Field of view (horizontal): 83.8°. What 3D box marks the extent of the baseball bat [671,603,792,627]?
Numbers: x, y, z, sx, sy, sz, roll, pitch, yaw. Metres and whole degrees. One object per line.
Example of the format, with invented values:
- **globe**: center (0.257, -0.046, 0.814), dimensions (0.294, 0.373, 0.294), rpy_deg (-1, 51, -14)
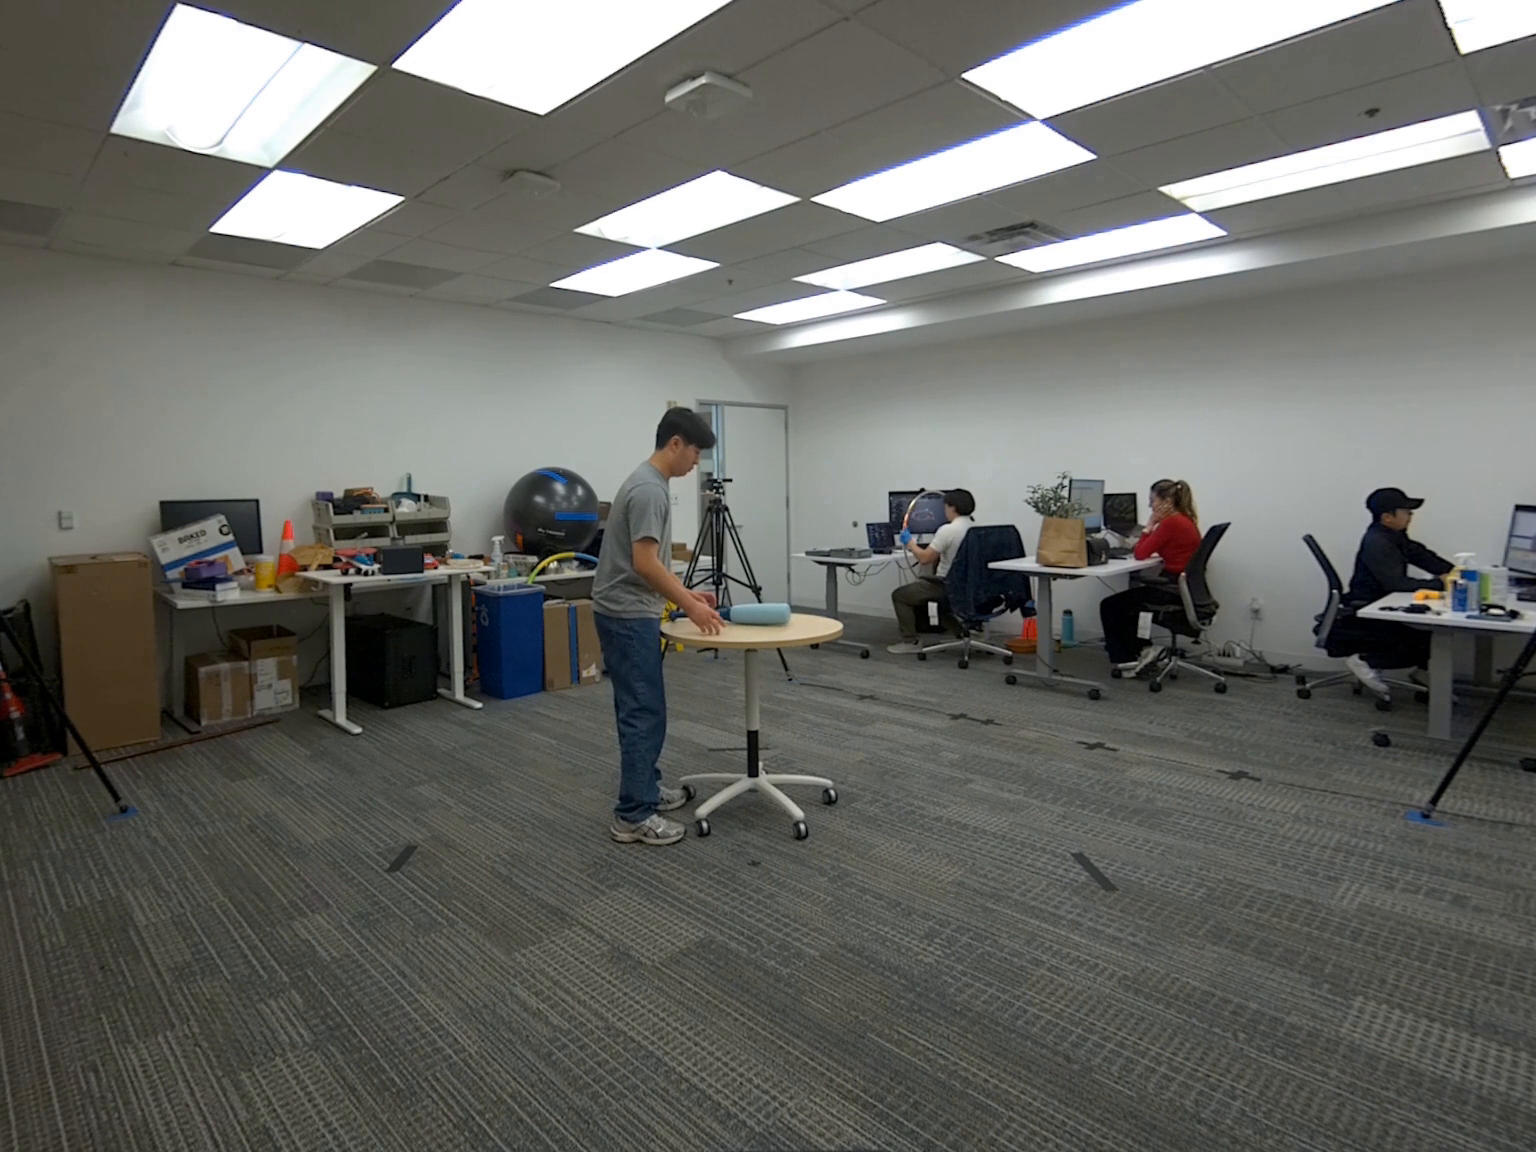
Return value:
- **baseball bat**: center (-0.174, 0.166, 3.638), dimensions (0.551, 0.089, 0.088), rpy_deg (-2, 4, 17)
